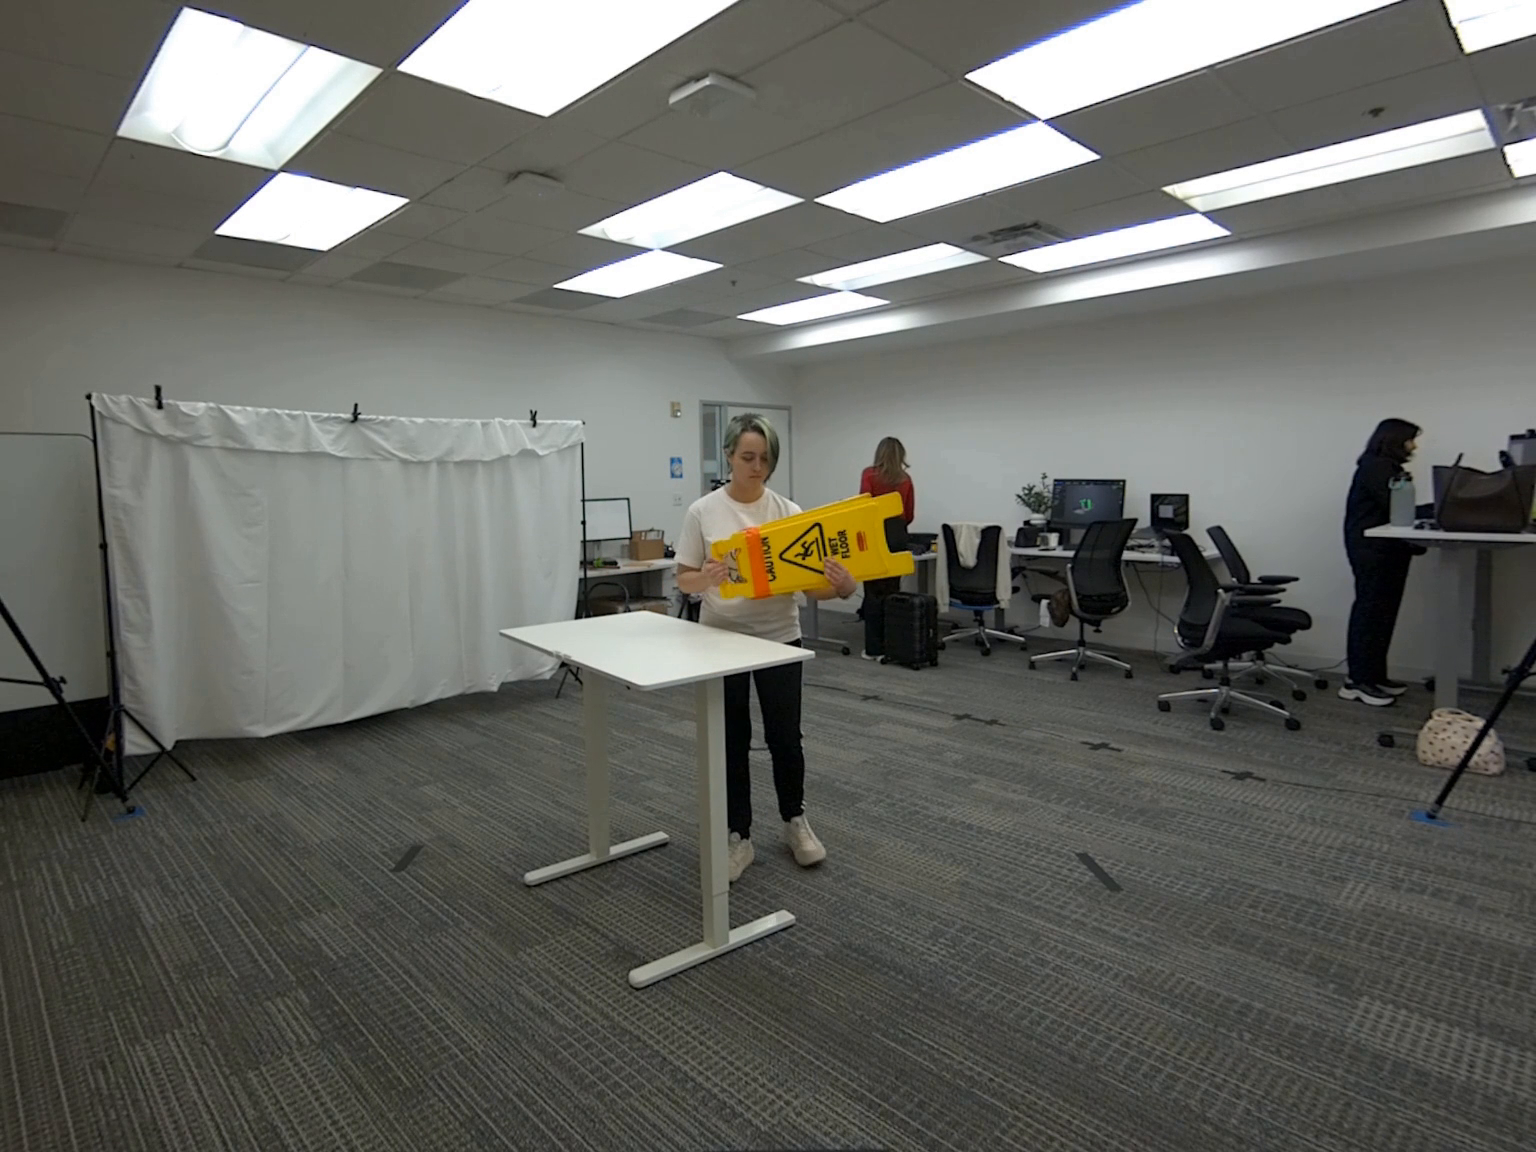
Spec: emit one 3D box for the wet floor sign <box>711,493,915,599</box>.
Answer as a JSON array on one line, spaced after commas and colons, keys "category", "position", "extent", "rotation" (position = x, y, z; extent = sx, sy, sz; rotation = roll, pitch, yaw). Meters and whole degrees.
[{"category": "wet floor sign", "position": [0.128, -0.082, 2.922], "extent": [0.640, 0.280, 0.294], "rotation": [-13, 6, -12]}]
